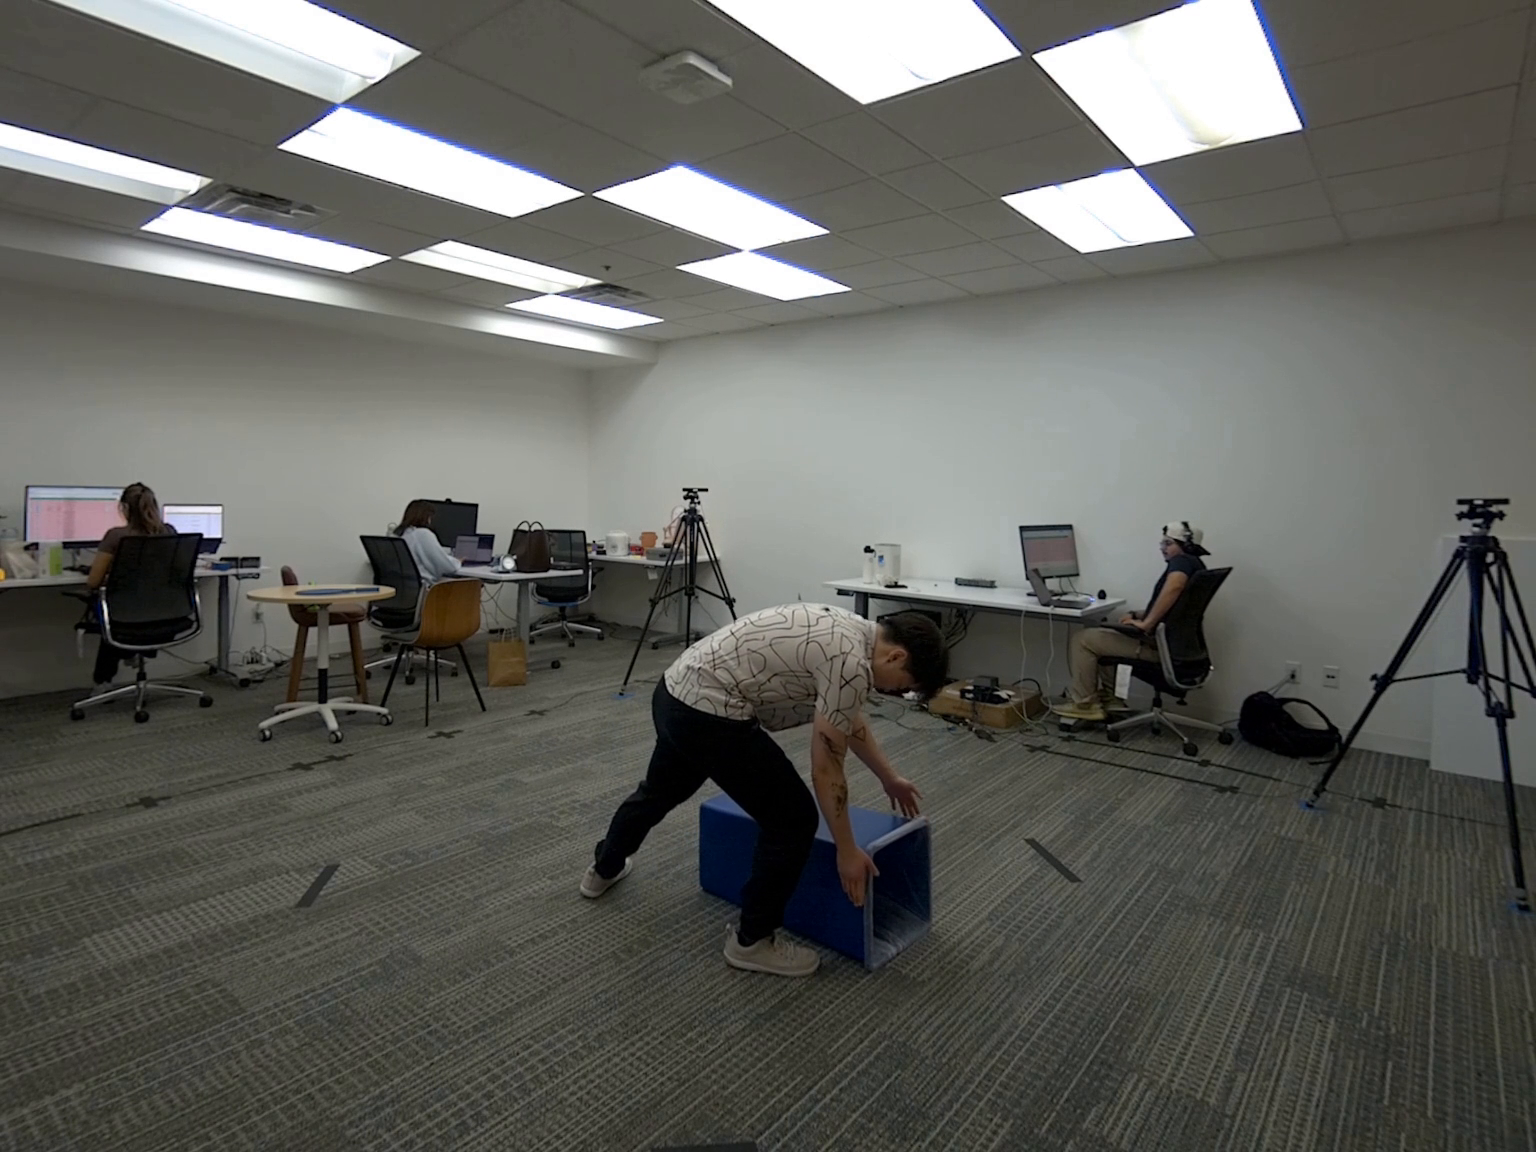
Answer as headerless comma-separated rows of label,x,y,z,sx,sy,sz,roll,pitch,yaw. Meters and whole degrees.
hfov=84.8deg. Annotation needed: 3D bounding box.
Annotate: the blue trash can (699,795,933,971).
blue trash can,0.125,0.937,2.819,0.737,0.377,0.363,4,5,42
